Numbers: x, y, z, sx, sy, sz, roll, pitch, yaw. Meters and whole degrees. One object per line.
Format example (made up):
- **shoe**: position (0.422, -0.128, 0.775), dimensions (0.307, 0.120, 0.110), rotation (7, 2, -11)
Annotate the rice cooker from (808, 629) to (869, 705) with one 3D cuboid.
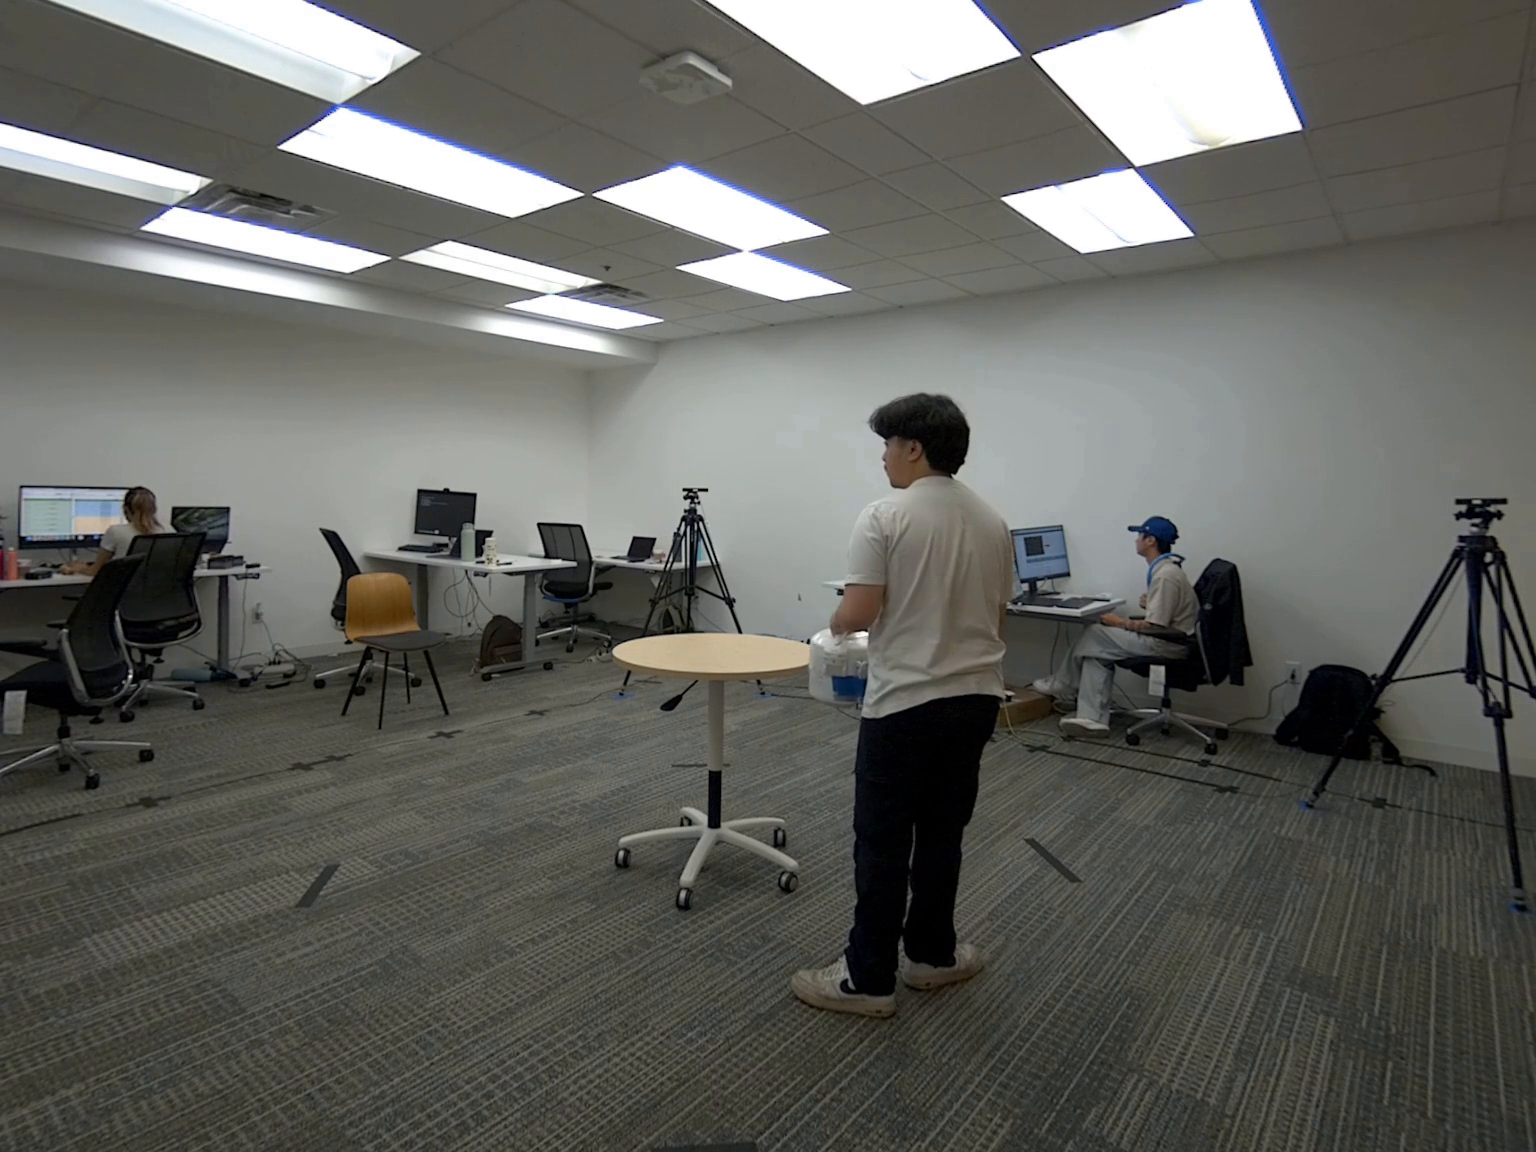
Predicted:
- **rice cooker**: position (0.225, 0.264, 2.589), dimensions (0.223, 0.231, 0.217), rotation (5, 10, 23)
